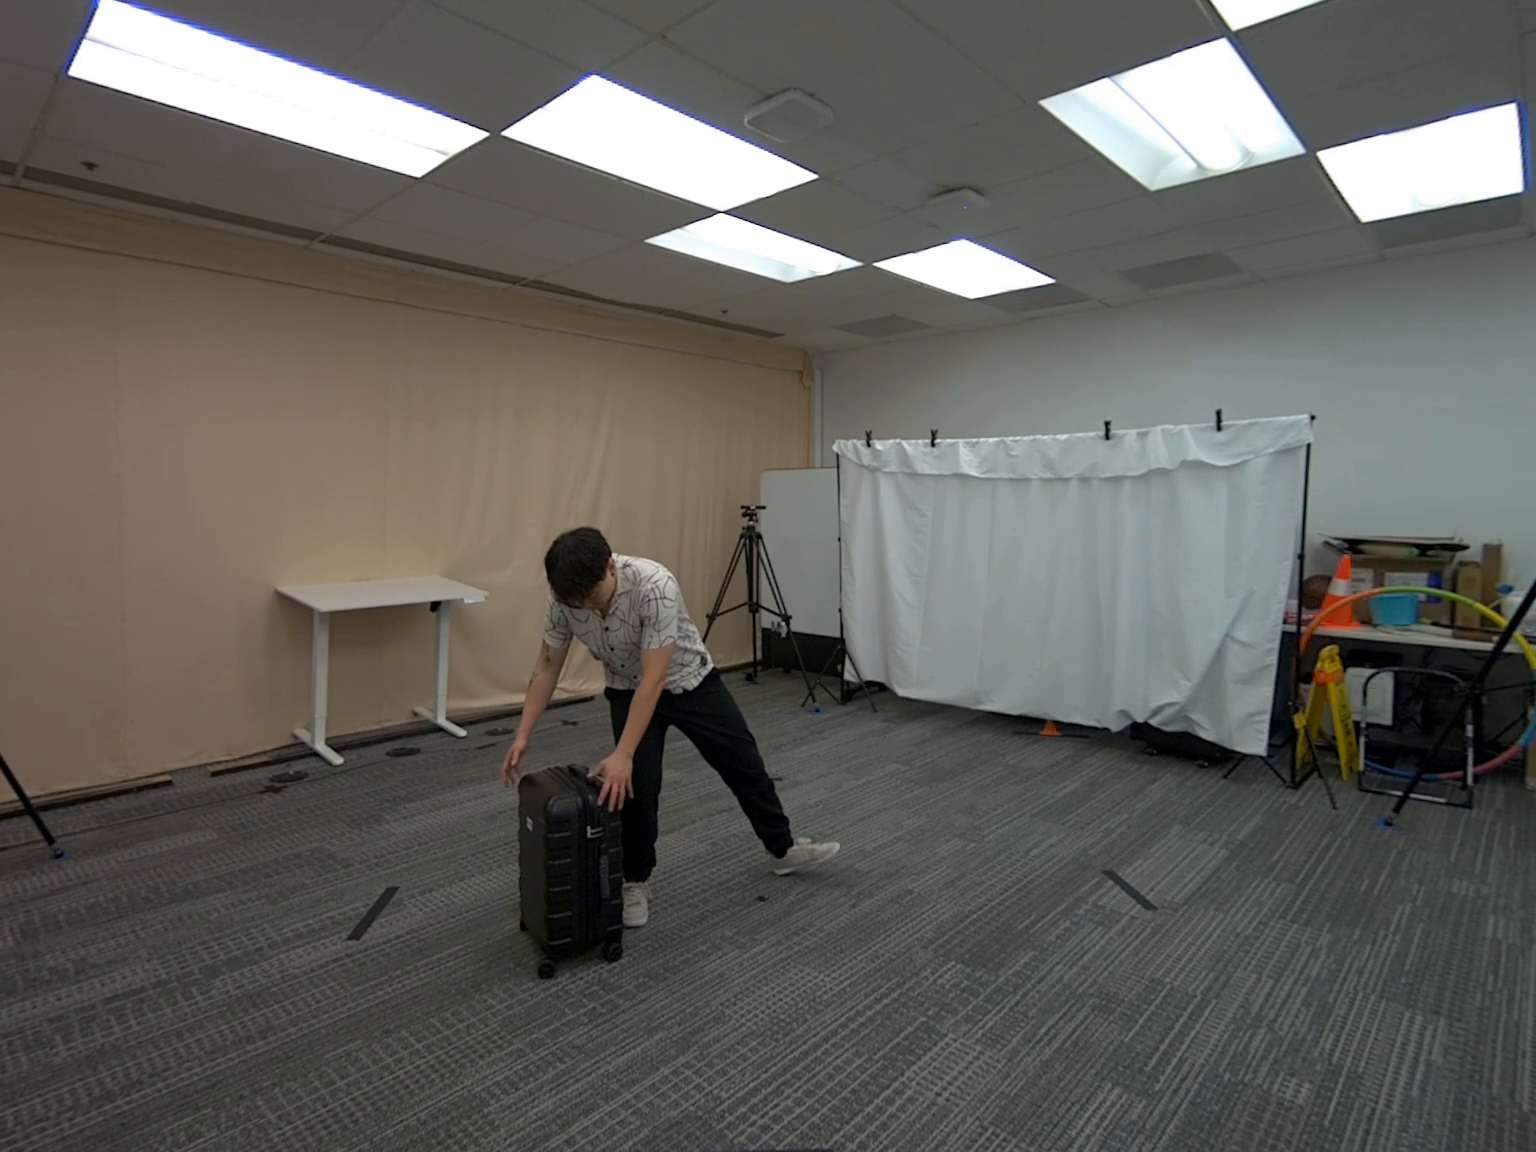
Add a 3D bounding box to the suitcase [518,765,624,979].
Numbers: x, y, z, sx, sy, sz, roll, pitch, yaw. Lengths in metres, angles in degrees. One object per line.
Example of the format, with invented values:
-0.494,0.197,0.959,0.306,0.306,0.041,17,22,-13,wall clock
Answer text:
-0.631,0.897,2.662,0.241,0.548,0.386,-1,4,-31,suitcase
